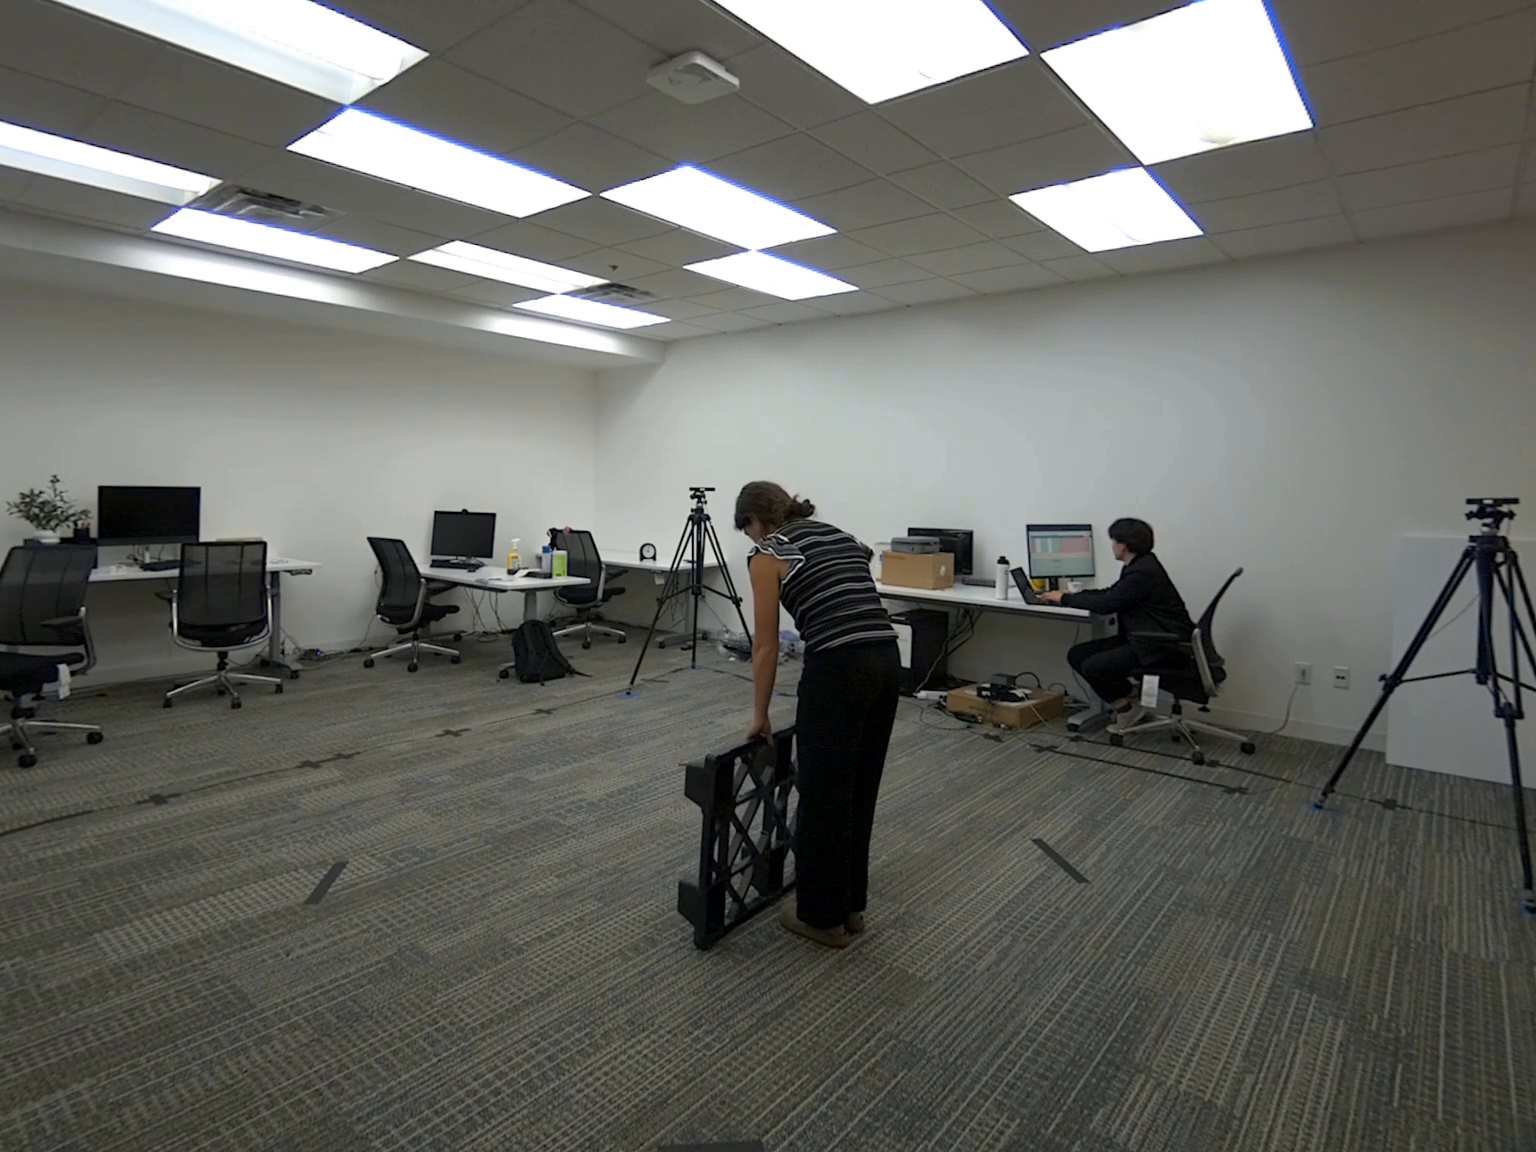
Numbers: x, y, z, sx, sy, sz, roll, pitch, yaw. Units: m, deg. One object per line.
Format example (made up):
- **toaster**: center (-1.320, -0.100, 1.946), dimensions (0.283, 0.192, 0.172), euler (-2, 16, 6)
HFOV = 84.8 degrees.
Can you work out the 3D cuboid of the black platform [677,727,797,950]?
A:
- **black platform**: center (-0.024, 0.785, 2.871), dimensions (0.148, 0.603, 0.783), euler (6, 6, 34)
